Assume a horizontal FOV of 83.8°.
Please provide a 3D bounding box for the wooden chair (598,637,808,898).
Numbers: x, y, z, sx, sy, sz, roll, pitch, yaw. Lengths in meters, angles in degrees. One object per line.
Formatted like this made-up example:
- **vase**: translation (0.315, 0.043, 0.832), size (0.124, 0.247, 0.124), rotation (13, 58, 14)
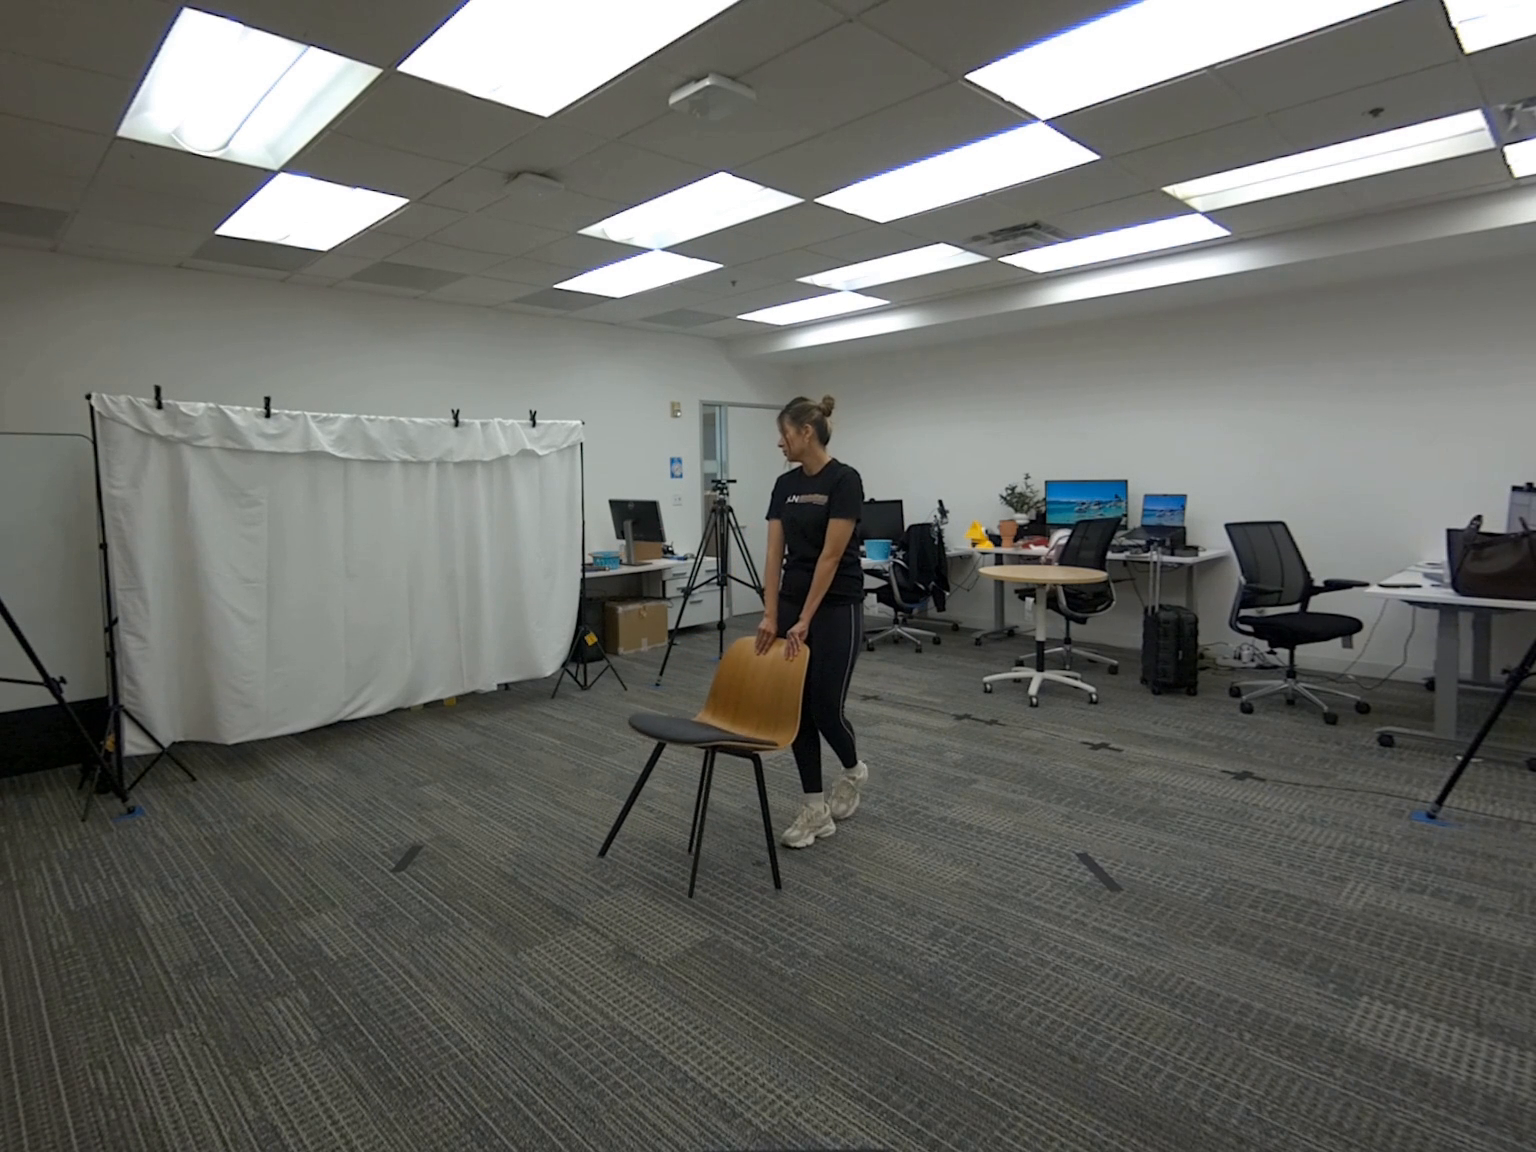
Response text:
- **wooden chair**: translation (-0.197, 0.593, 2.948), size (0.493, 0.884, 0.504), rotation (3, -15, 43)
